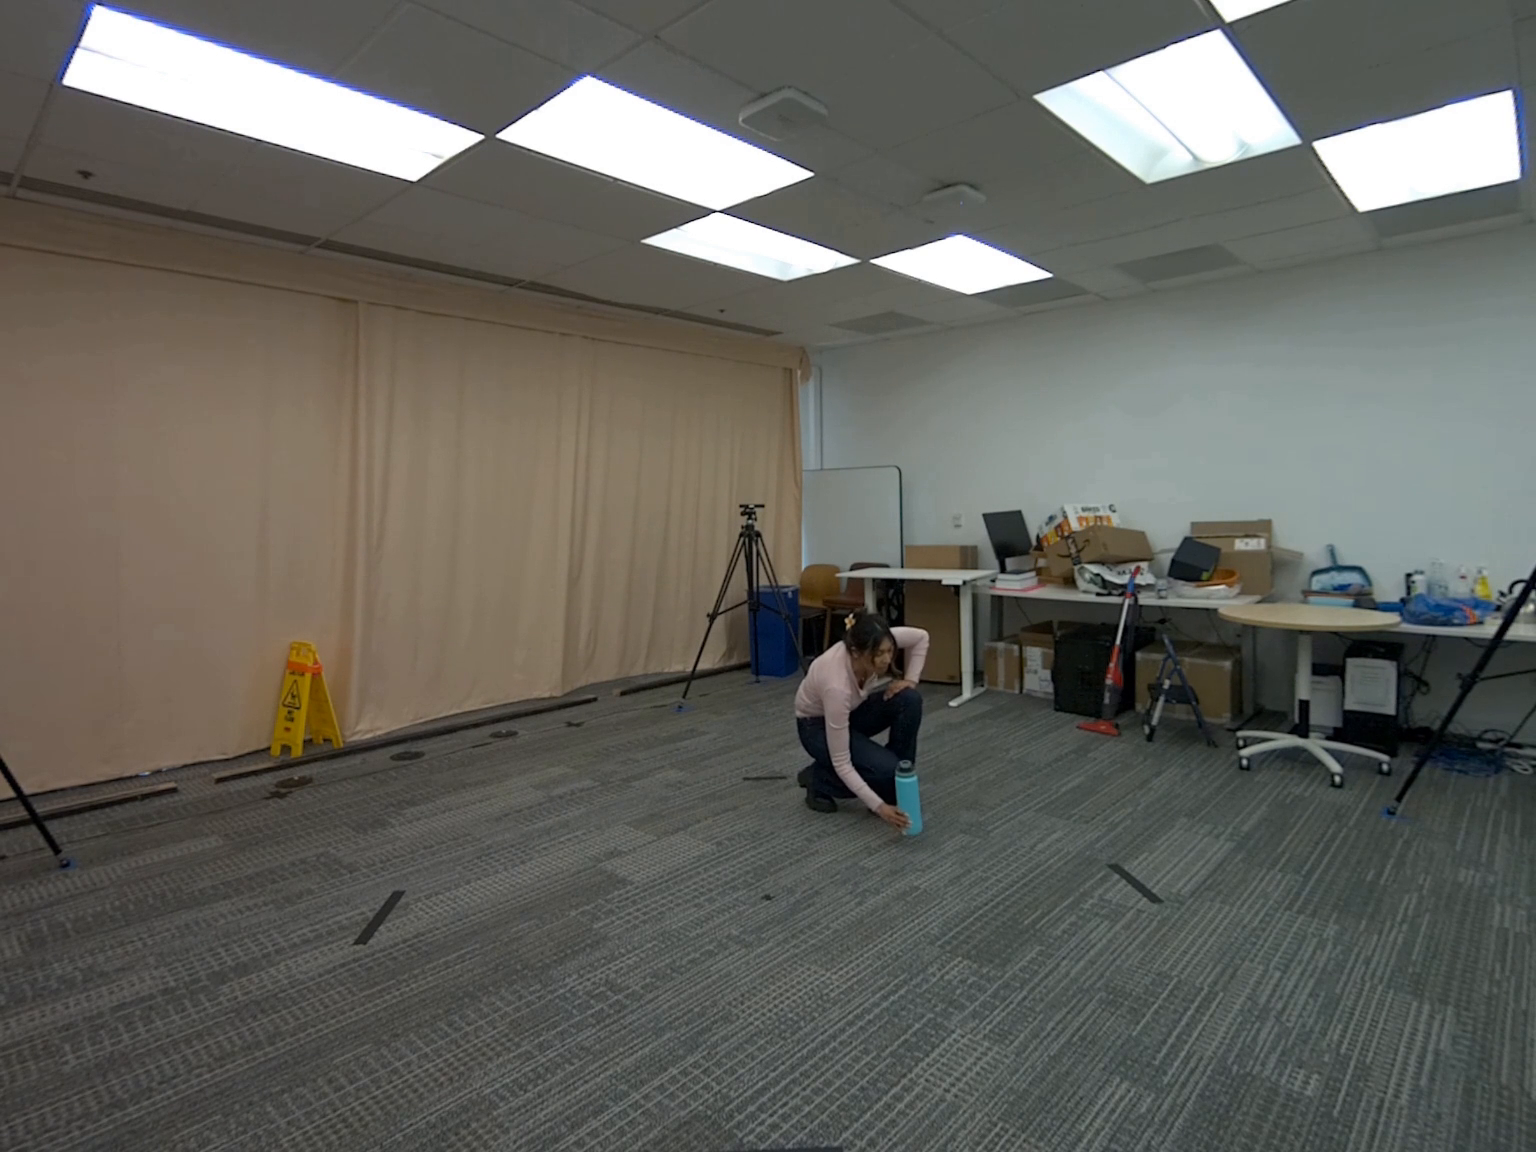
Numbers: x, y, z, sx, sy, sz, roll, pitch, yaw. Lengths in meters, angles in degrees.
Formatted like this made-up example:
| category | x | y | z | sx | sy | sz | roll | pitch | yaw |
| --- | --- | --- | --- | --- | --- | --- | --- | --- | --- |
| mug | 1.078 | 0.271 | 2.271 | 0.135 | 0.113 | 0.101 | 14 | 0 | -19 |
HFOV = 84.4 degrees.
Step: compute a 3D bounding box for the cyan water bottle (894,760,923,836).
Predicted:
| category | x | y | z | sx | sy | sz | roll | pitch | yaw |
| --- | --- | --- | --- | --- | --- | --- | --- | --- | --- |
| cyan water bottle | 0.565 | 0.876 | 3.388 | 0.092 | 0.283 | 0.092 | -6 | 2 | -2 |
